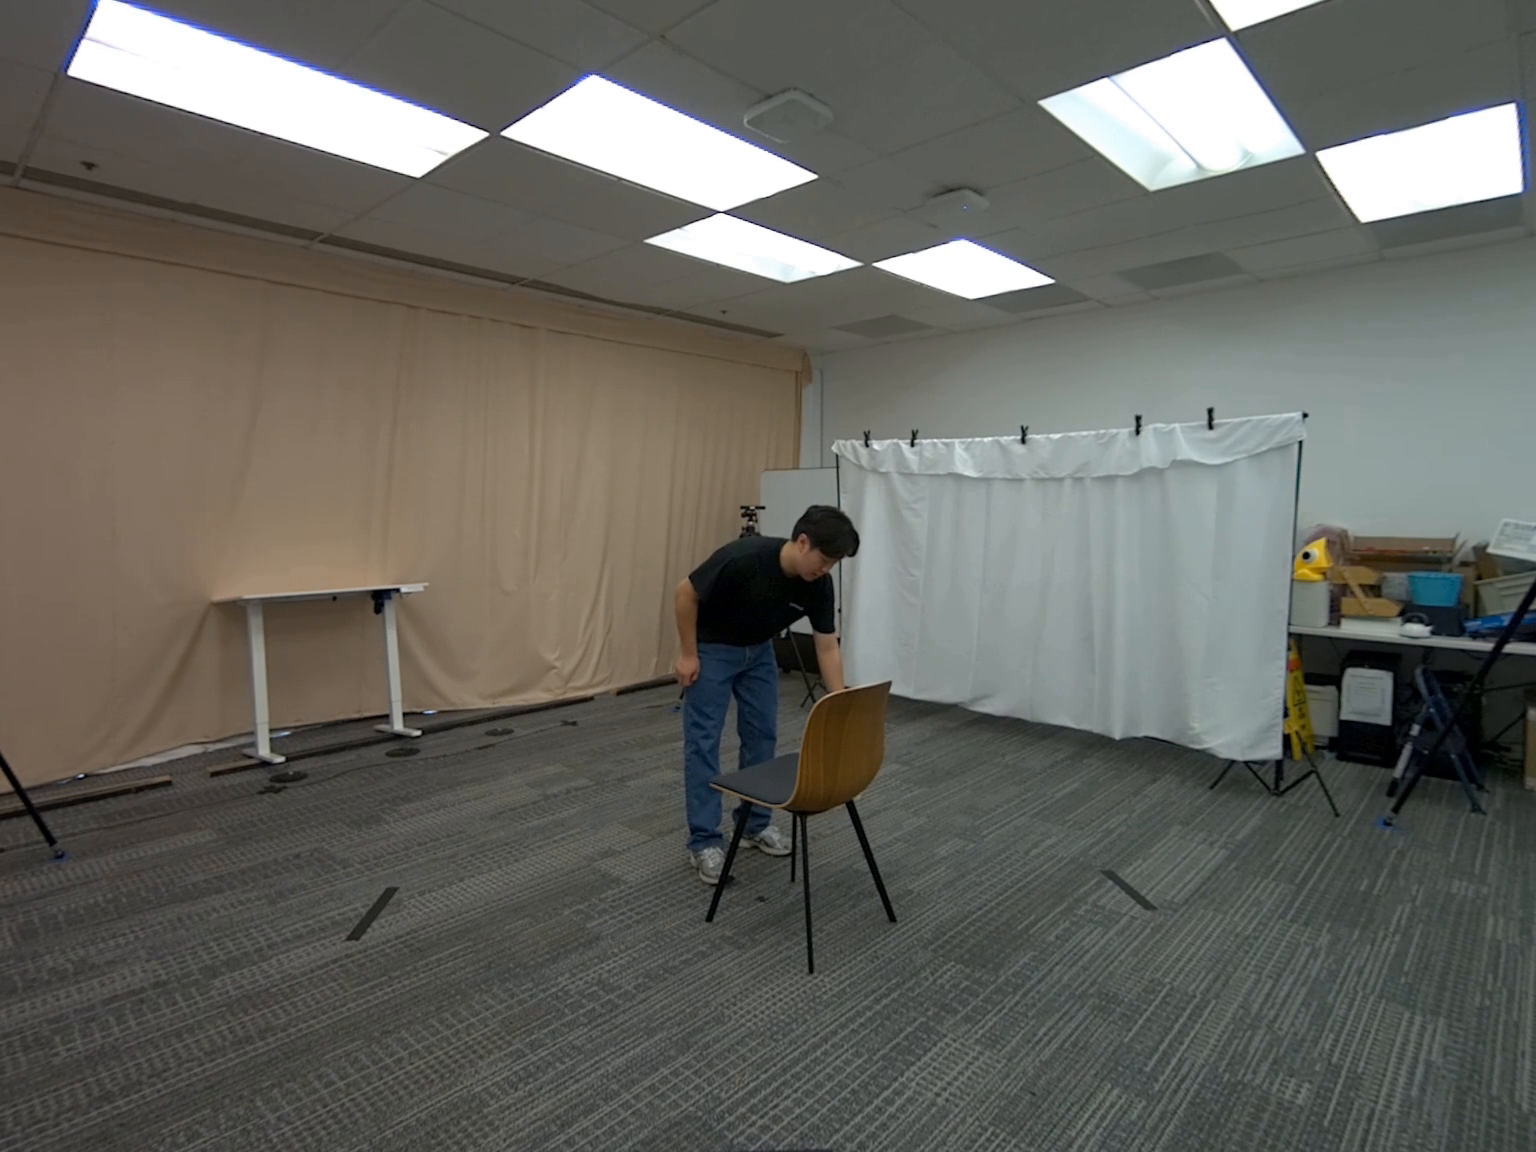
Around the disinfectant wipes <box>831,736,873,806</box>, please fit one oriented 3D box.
[{"bbox_3d":[0.314,0.732,3.200,0.117,0.217,0.118,4,6,-2],"label":"disinfectant wipes"}]
